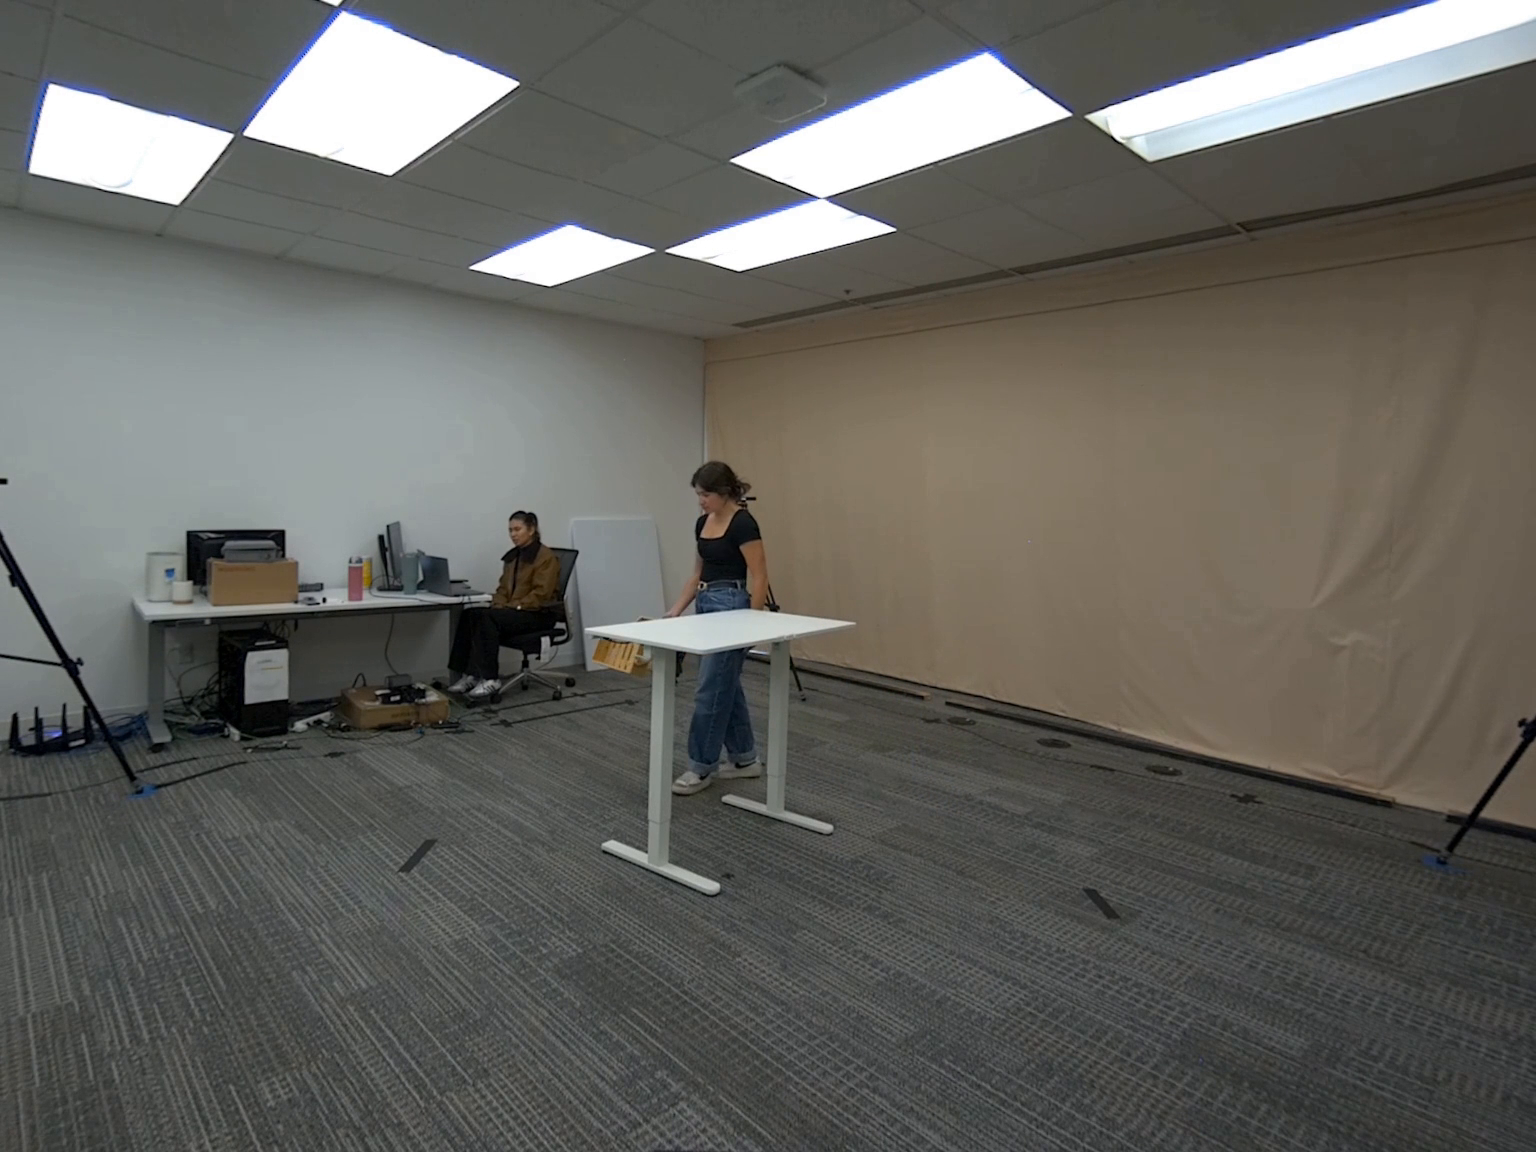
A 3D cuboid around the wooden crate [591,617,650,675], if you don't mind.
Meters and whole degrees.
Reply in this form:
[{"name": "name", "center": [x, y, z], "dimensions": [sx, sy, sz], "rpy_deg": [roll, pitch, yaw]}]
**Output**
[{"name": "wooden crate", "center": [-0.649, 0.334, 4.105], "dimensions": [0.333, 0.303, 0.265], "rpy_deg": [7, -15, 43]}]
